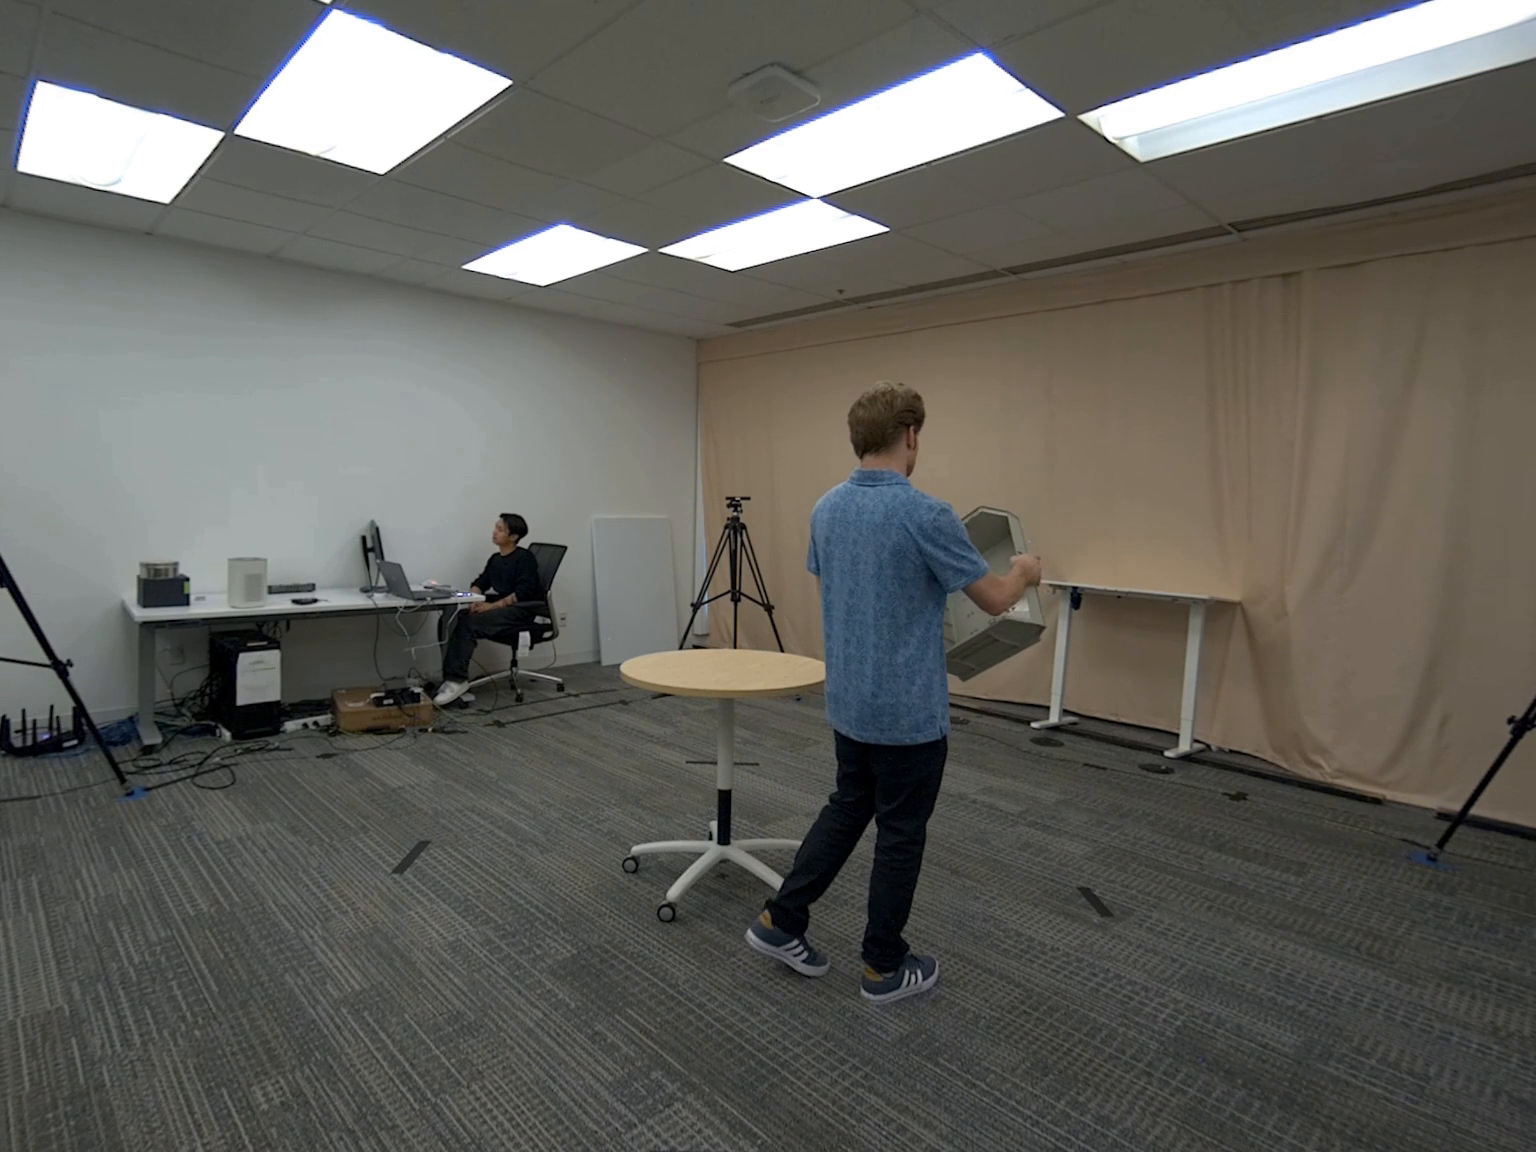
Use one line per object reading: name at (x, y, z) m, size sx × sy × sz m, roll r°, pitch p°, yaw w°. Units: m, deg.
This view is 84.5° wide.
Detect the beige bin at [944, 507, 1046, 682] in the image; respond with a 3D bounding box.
beige bin at (0.626, 0.051, 2.609) m, size 0.184 × 0.431 × 0.378 m, roll 23°, pitch -42°, yaw -27°
